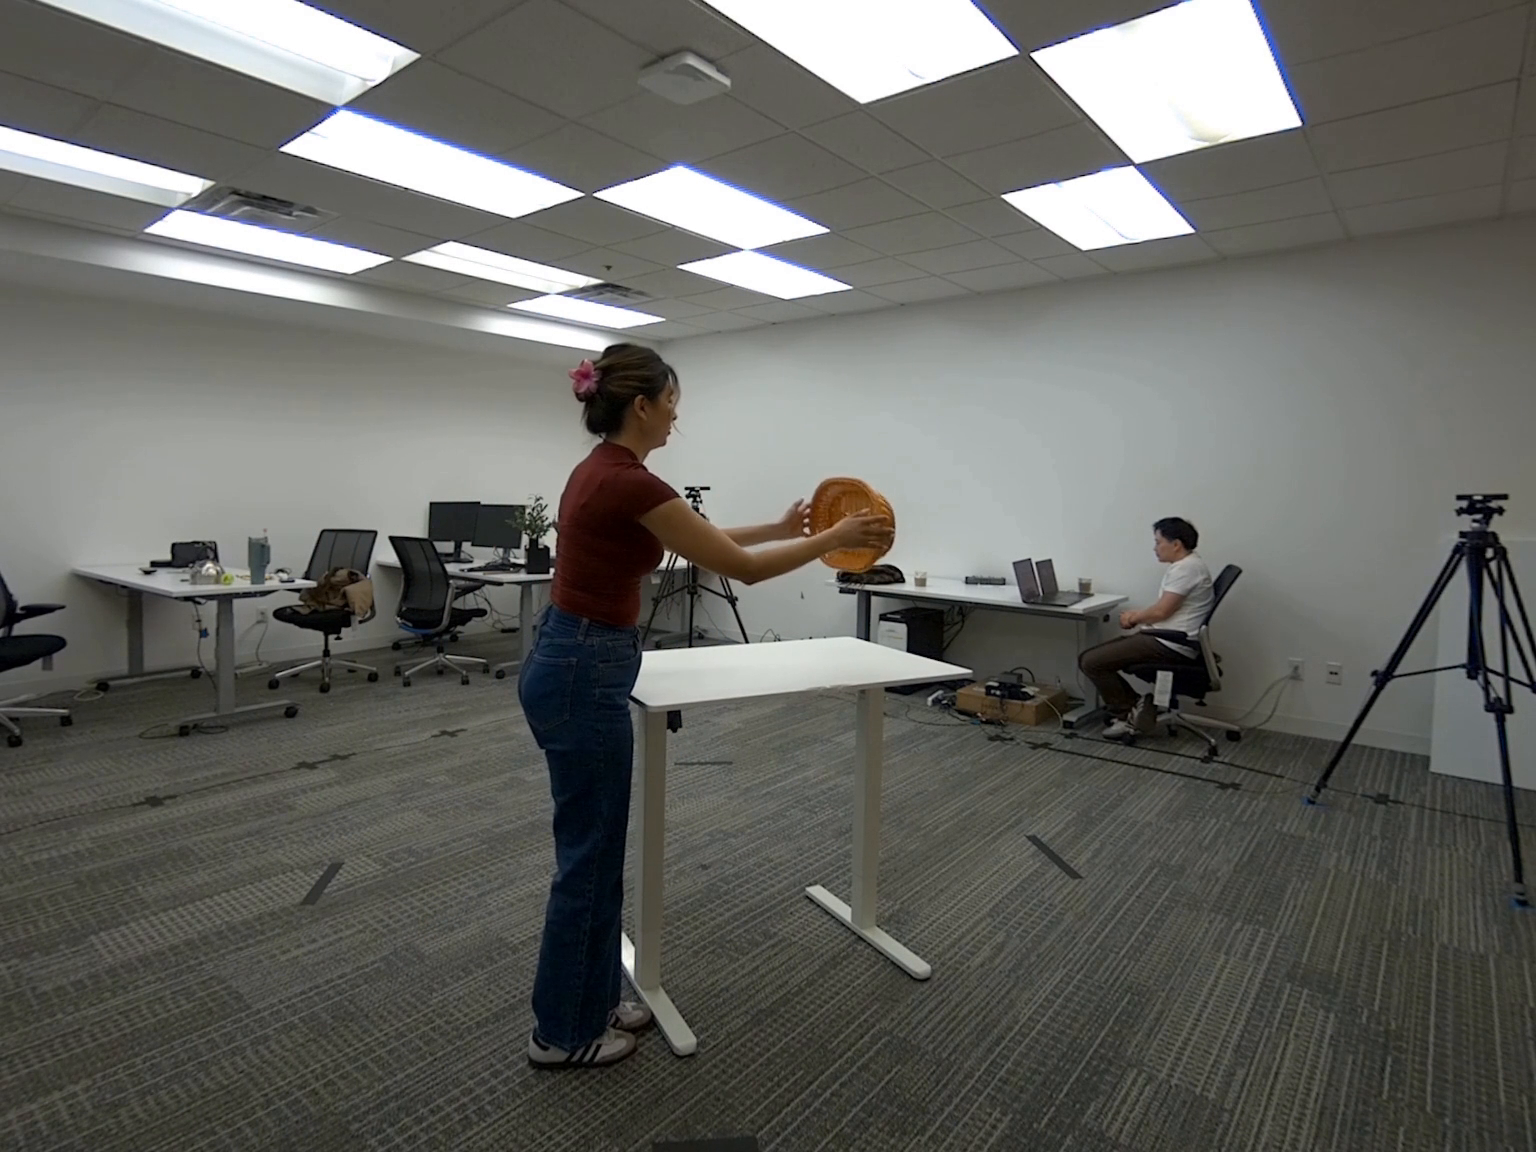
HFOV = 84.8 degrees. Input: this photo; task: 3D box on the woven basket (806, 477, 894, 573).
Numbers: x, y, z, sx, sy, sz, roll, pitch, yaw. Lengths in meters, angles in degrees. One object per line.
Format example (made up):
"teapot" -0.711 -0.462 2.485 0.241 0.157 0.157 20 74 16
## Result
"woven basket" 0.211 -0.139 2.279 0.072 0.250 0.362 -4 11 -27
